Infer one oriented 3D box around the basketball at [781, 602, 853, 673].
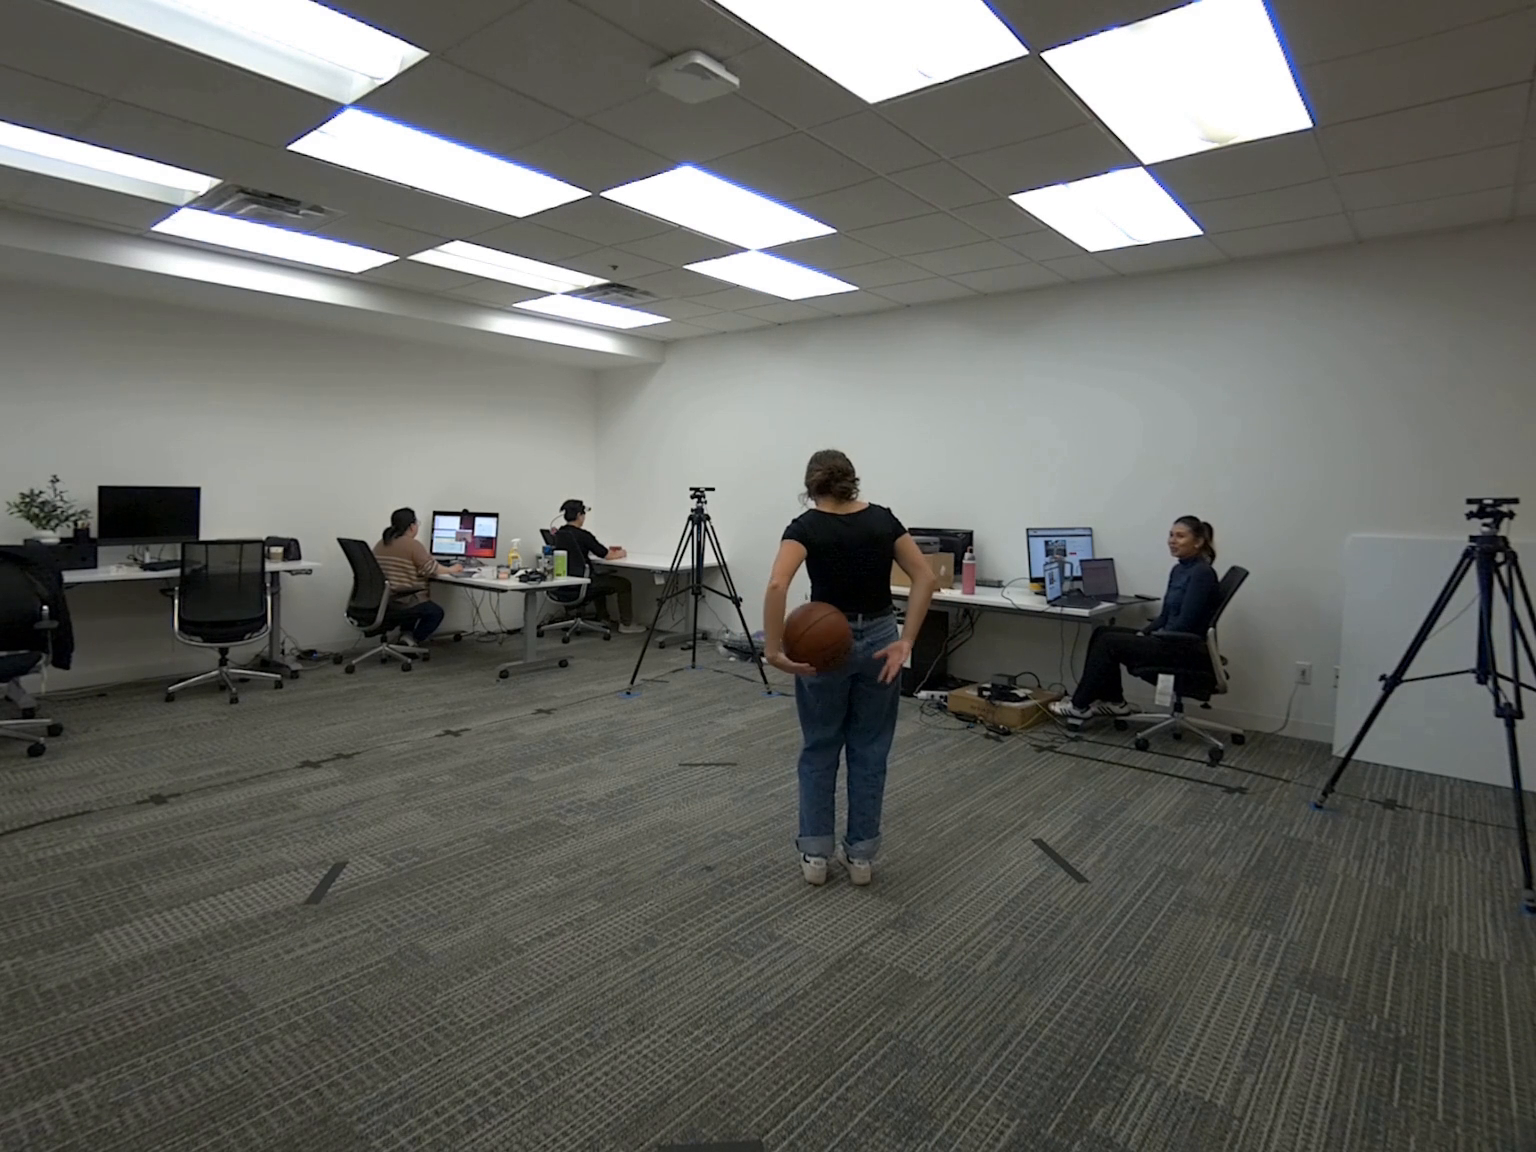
[{"bbox_3d":[0.163,0.203,2.870,0.235,0.235,0.237,1,4,-2],"label":"basketball"}]
